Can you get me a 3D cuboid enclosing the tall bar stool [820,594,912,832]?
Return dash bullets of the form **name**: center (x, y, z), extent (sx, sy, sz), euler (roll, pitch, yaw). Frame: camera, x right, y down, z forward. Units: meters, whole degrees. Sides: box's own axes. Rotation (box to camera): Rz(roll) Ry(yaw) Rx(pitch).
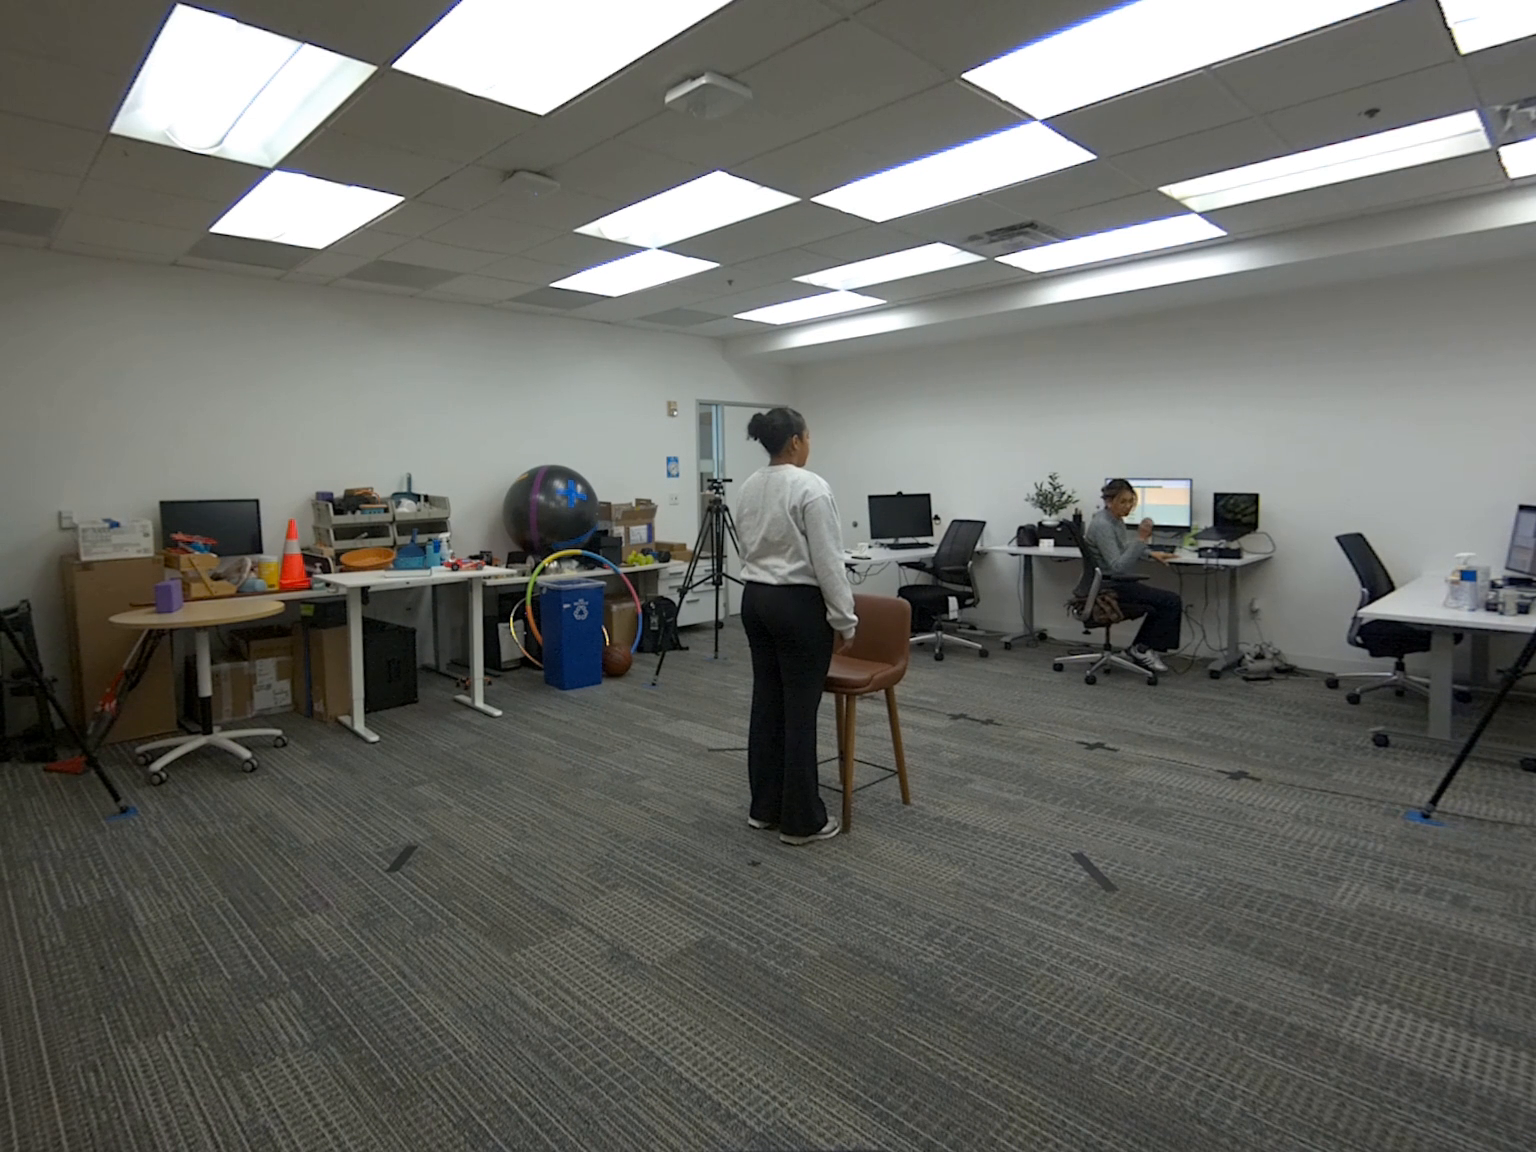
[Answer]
- **tall bar stool**: center (0.326, 0.541, 3.626), extent (0.454, 0.887, 0.471), euler (-2, 4, -44)
